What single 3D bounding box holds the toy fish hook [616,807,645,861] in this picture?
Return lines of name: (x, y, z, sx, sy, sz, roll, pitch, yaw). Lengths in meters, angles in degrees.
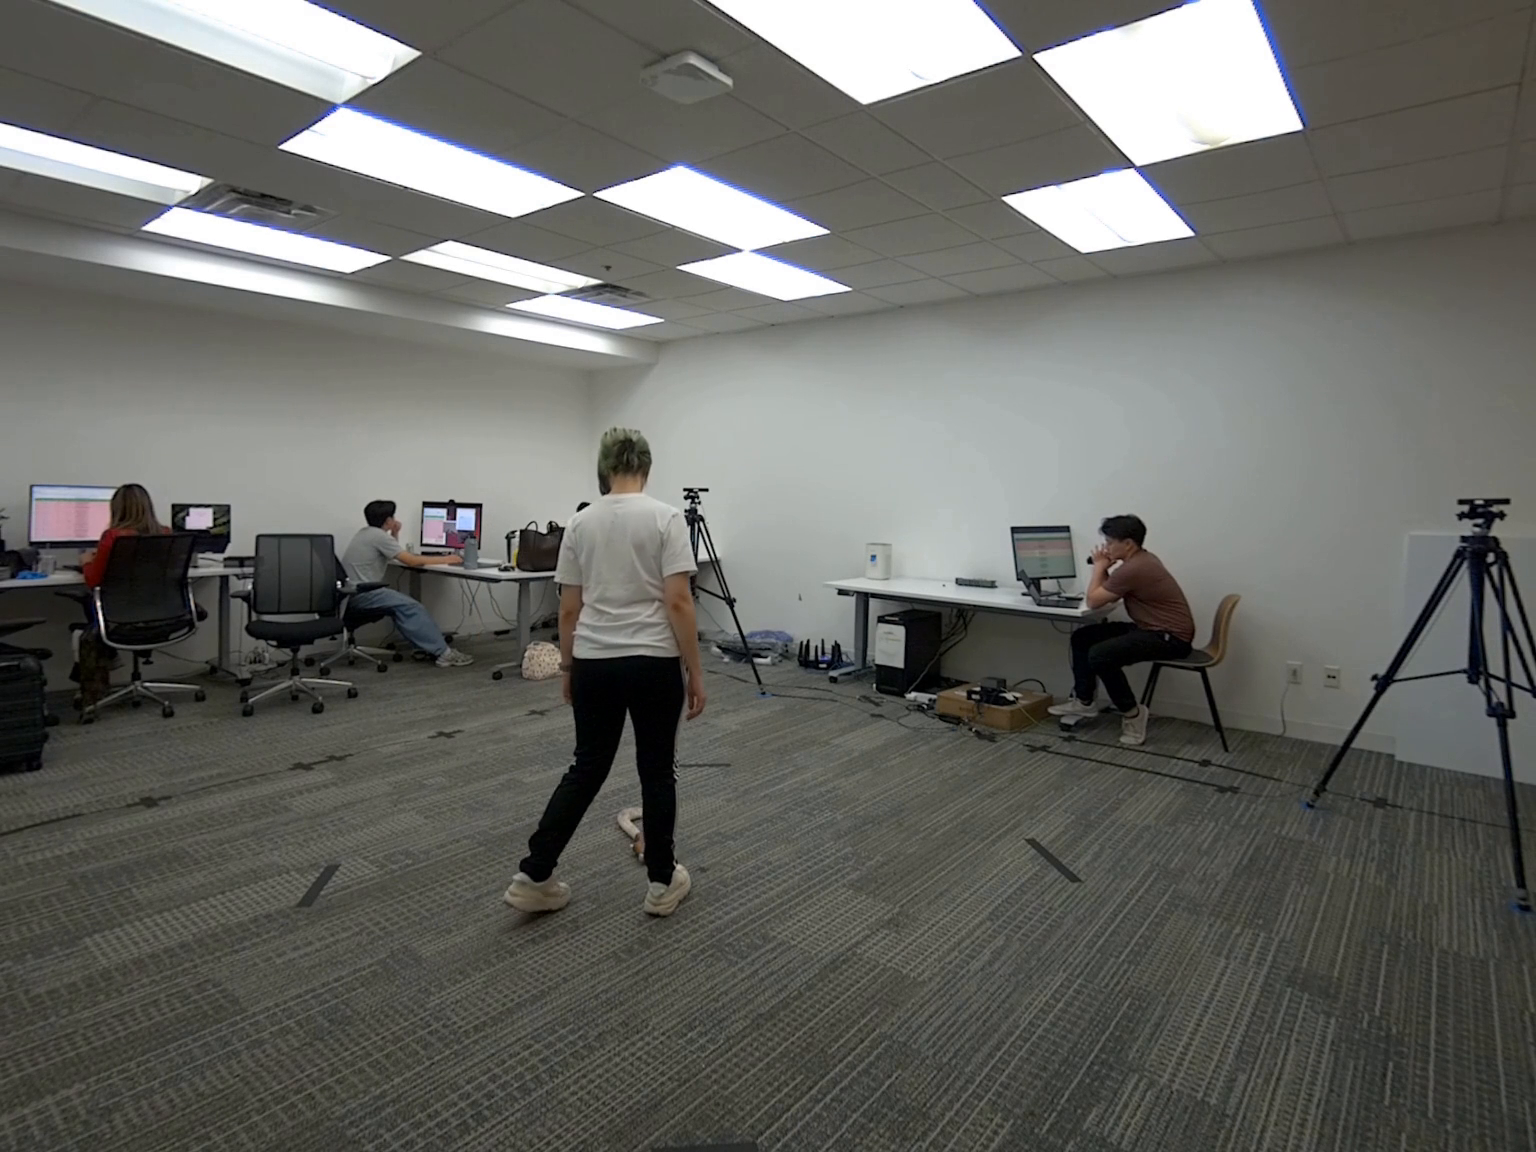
toy fish hook: (-0.480, 1.013, 3.382, 0.221, 0.048, 0.516, -2, 7, -15)
